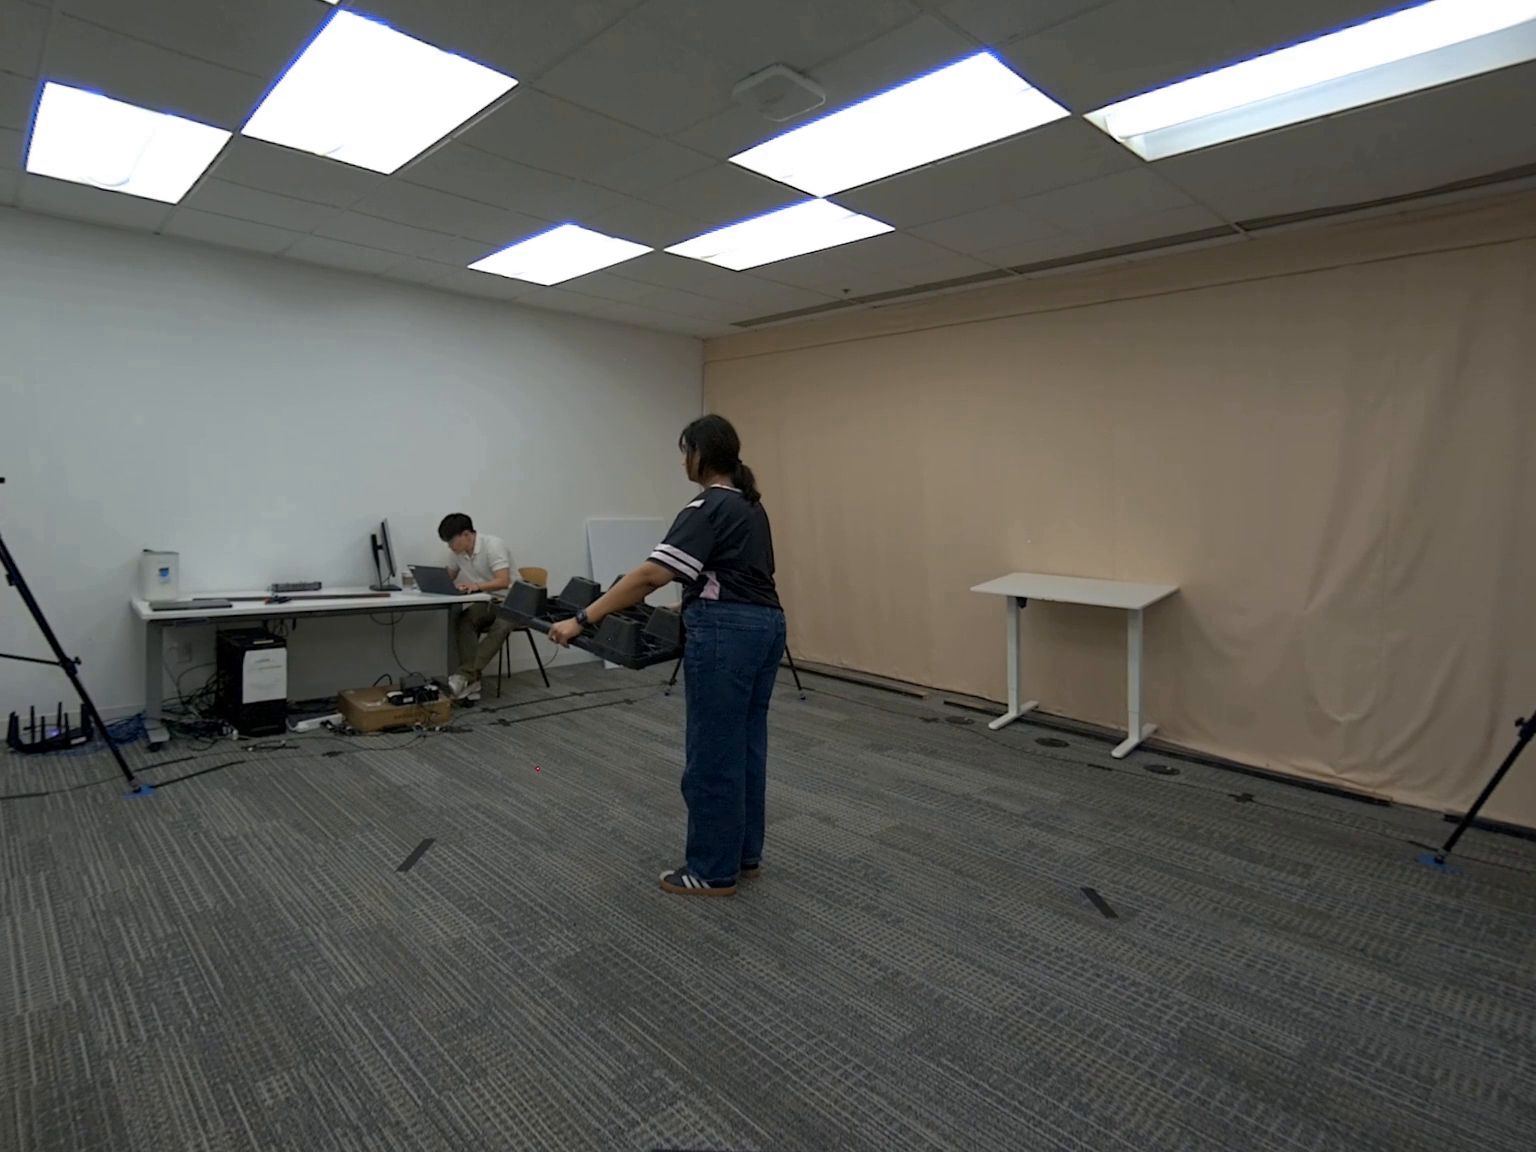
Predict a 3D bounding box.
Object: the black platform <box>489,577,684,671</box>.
[{"bbox_3d":[-0.537,0.134,3.091,0.617,0.143,0.792,18,8,20],"label":"black platform"}]
